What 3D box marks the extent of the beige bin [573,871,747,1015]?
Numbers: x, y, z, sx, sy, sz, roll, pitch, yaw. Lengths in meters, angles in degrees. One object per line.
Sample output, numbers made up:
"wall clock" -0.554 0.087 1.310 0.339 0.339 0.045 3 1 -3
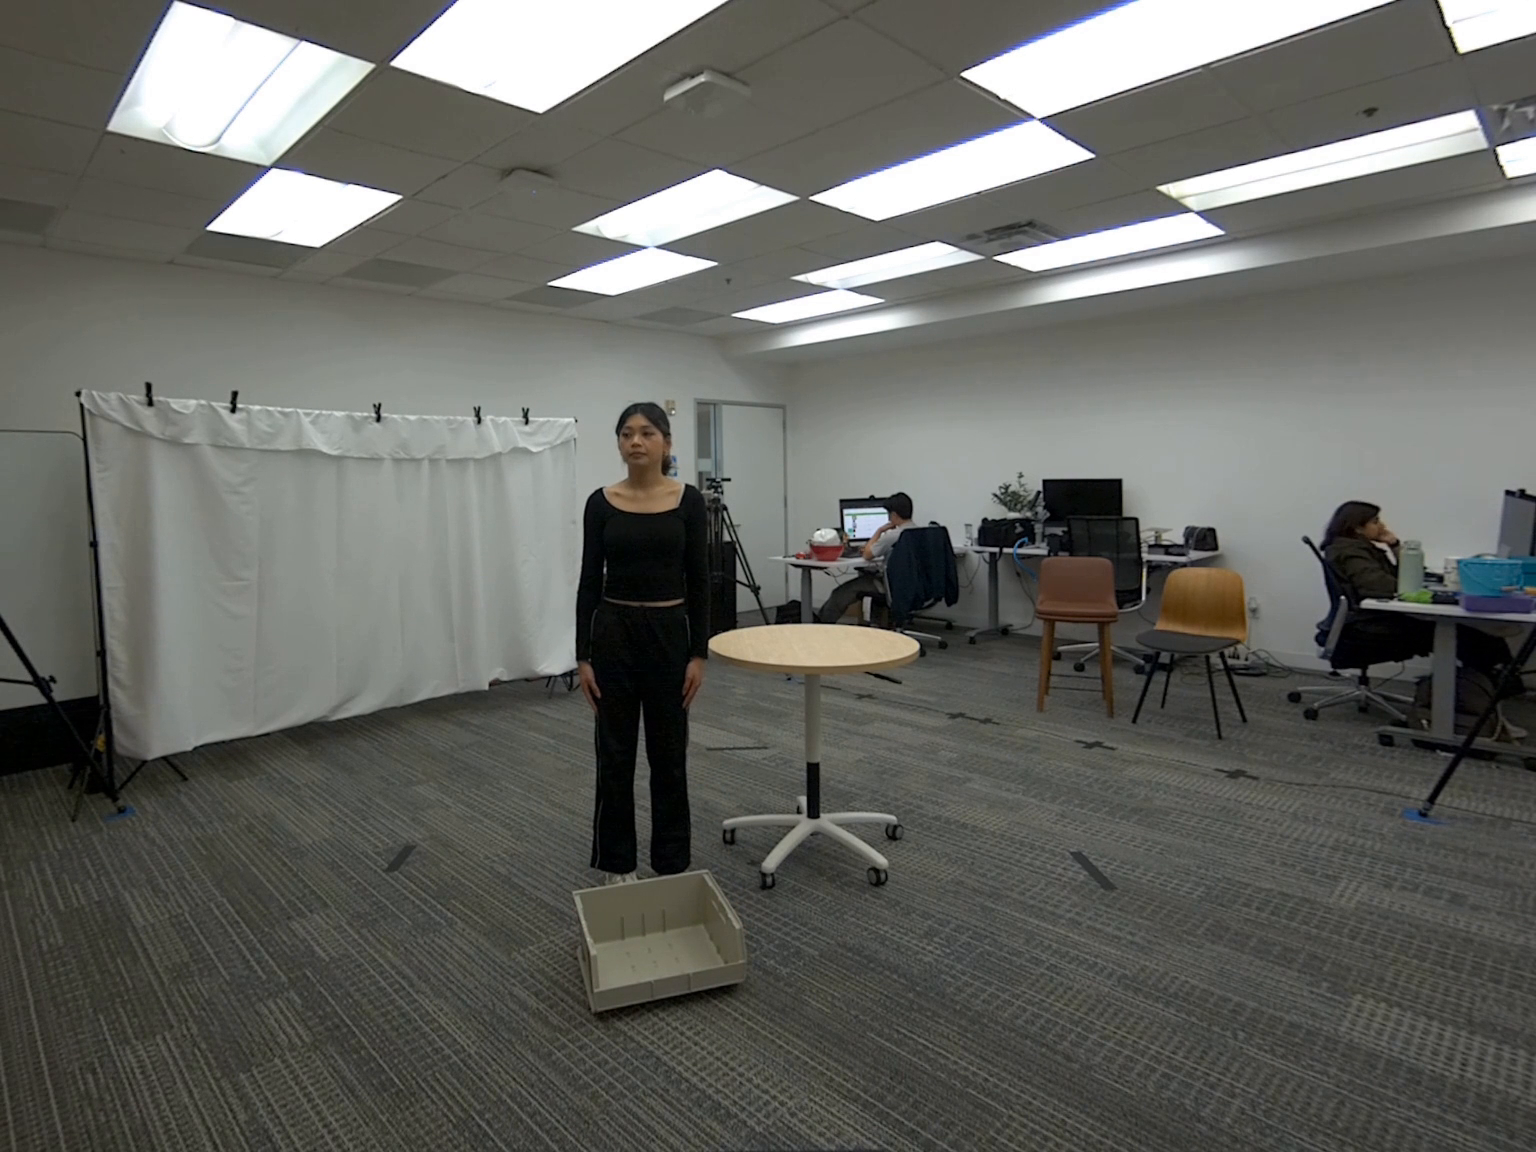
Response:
"beige bin" -0.318 1.028 2.432 0.415 0.188 0.385 -3 5 -18
